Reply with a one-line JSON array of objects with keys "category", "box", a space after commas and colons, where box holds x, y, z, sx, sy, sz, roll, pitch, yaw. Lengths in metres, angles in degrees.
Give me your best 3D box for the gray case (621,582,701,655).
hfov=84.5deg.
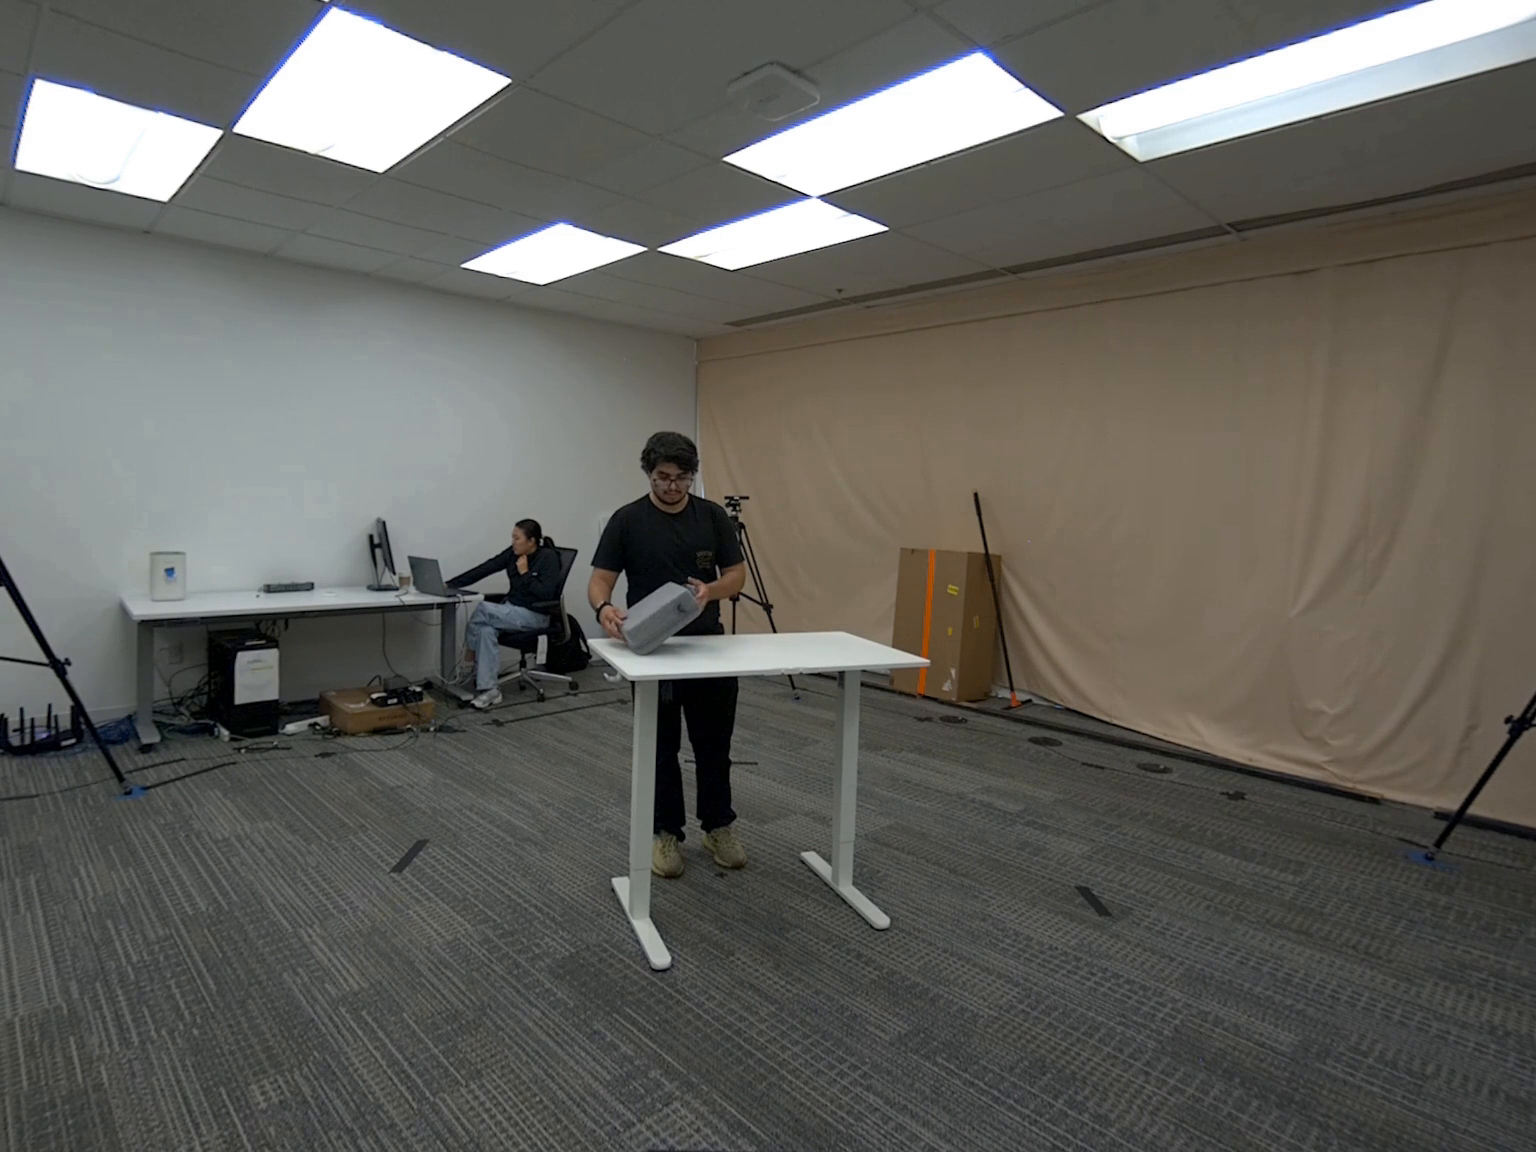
[{"category": "gray case", "box": [-0.387, 0.138, 2.769, 0.103, 0.260, 0.261, 47, -12, -16]}]
